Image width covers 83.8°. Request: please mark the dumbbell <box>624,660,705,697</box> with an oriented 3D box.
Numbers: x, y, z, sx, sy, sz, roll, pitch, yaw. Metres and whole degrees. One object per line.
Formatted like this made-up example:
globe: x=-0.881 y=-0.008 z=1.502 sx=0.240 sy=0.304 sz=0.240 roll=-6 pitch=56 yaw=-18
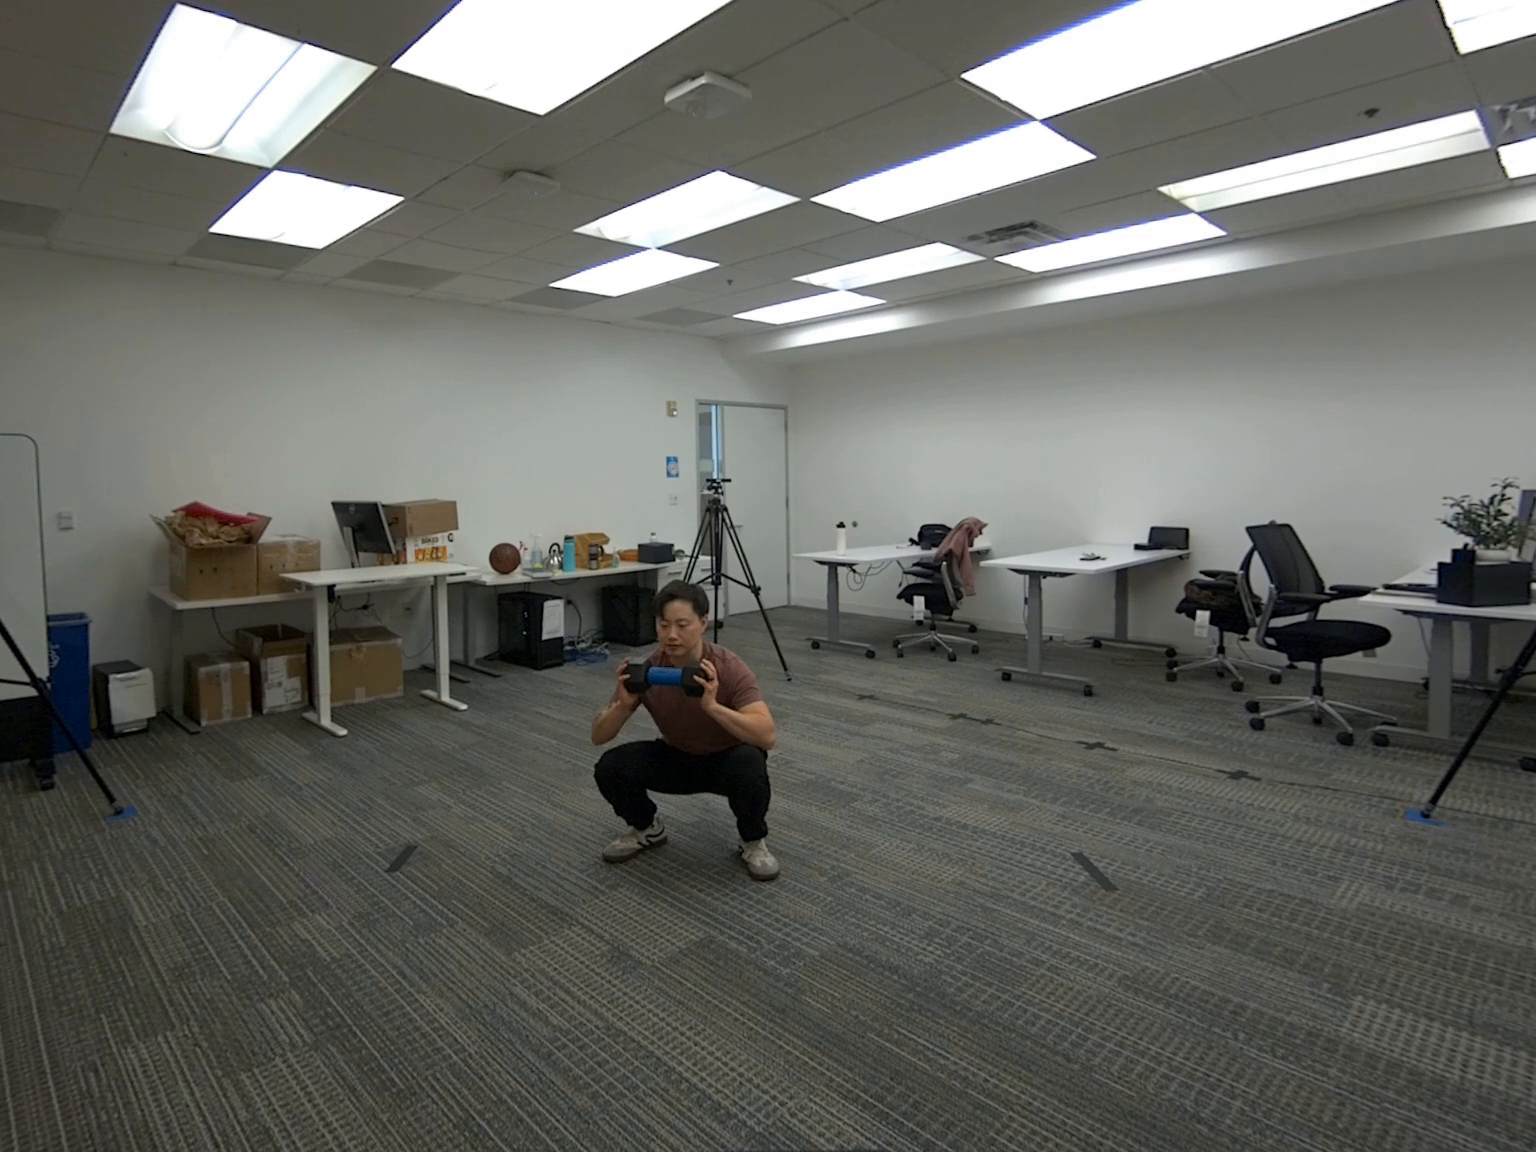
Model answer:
dumbbell: x=-0.351 y=0.333 z=2.905 sx=0.298 sy=0.119 sz=0.110 roll=3 pitch=41 yaw=15
